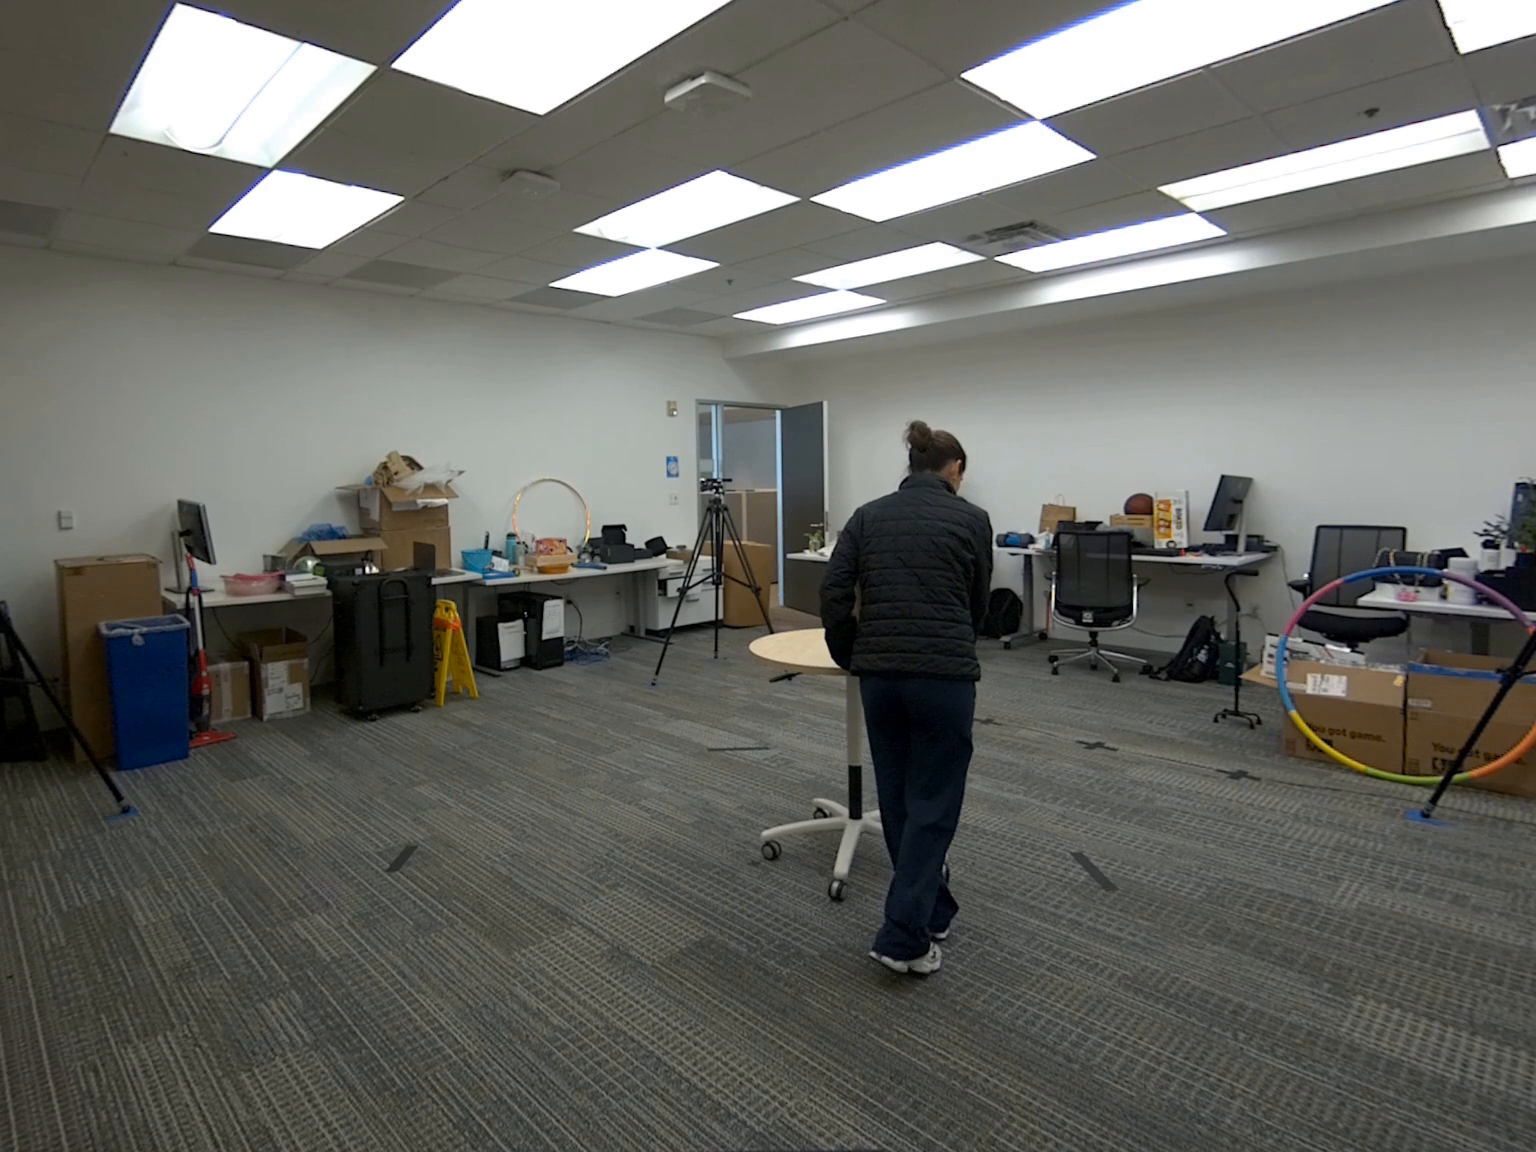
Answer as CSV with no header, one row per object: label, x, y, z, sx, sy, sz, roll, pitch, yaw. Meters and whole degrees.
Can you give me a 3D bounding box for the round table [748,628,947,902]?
round table,0.330,0.642,3.139,0.784,0.783,0.789,-1,5,-2
